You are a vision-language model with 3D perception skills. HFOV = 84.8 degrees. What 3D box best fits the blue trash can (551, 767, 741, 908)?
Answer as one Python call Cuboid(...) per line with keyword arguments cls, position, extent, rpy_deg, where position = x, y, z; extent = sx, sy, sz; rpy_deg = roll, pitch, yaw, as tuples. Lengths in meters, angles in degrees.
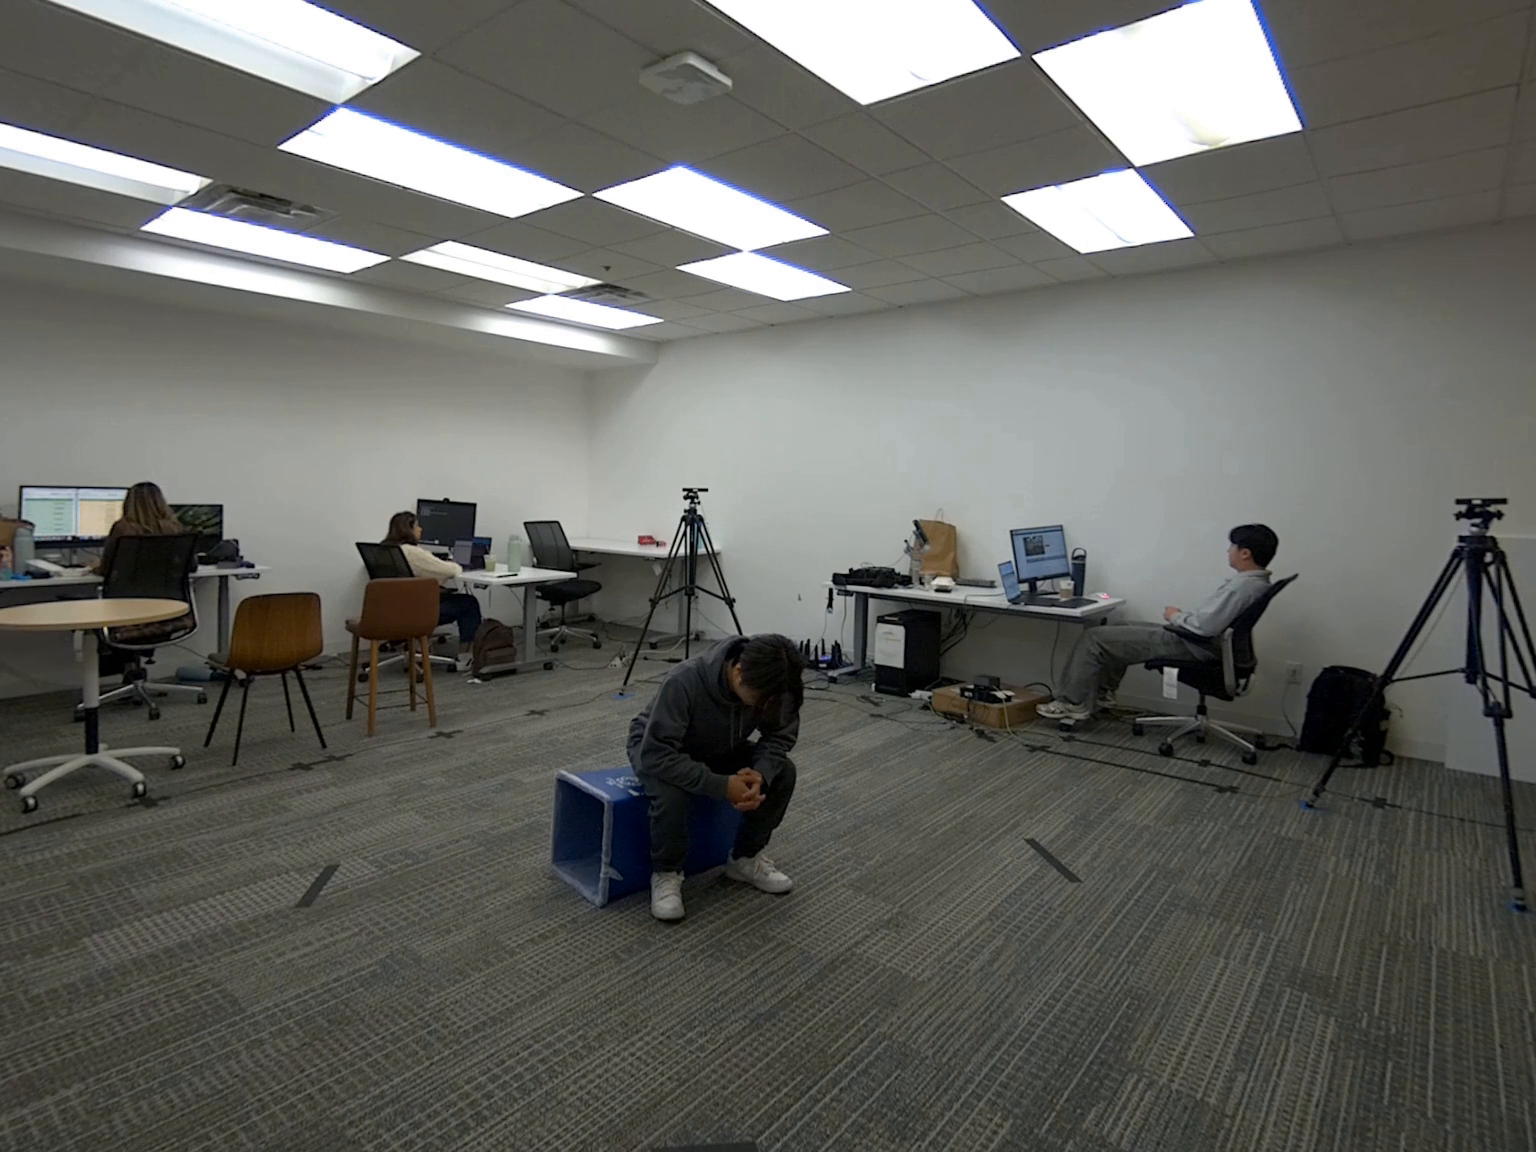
Cuboid(cls="blue trash can", position=(-0.413, 0.894, 3.155), extent=(0.691, 0.377, 0.387), rpy_deg=(1, 3, -41))
